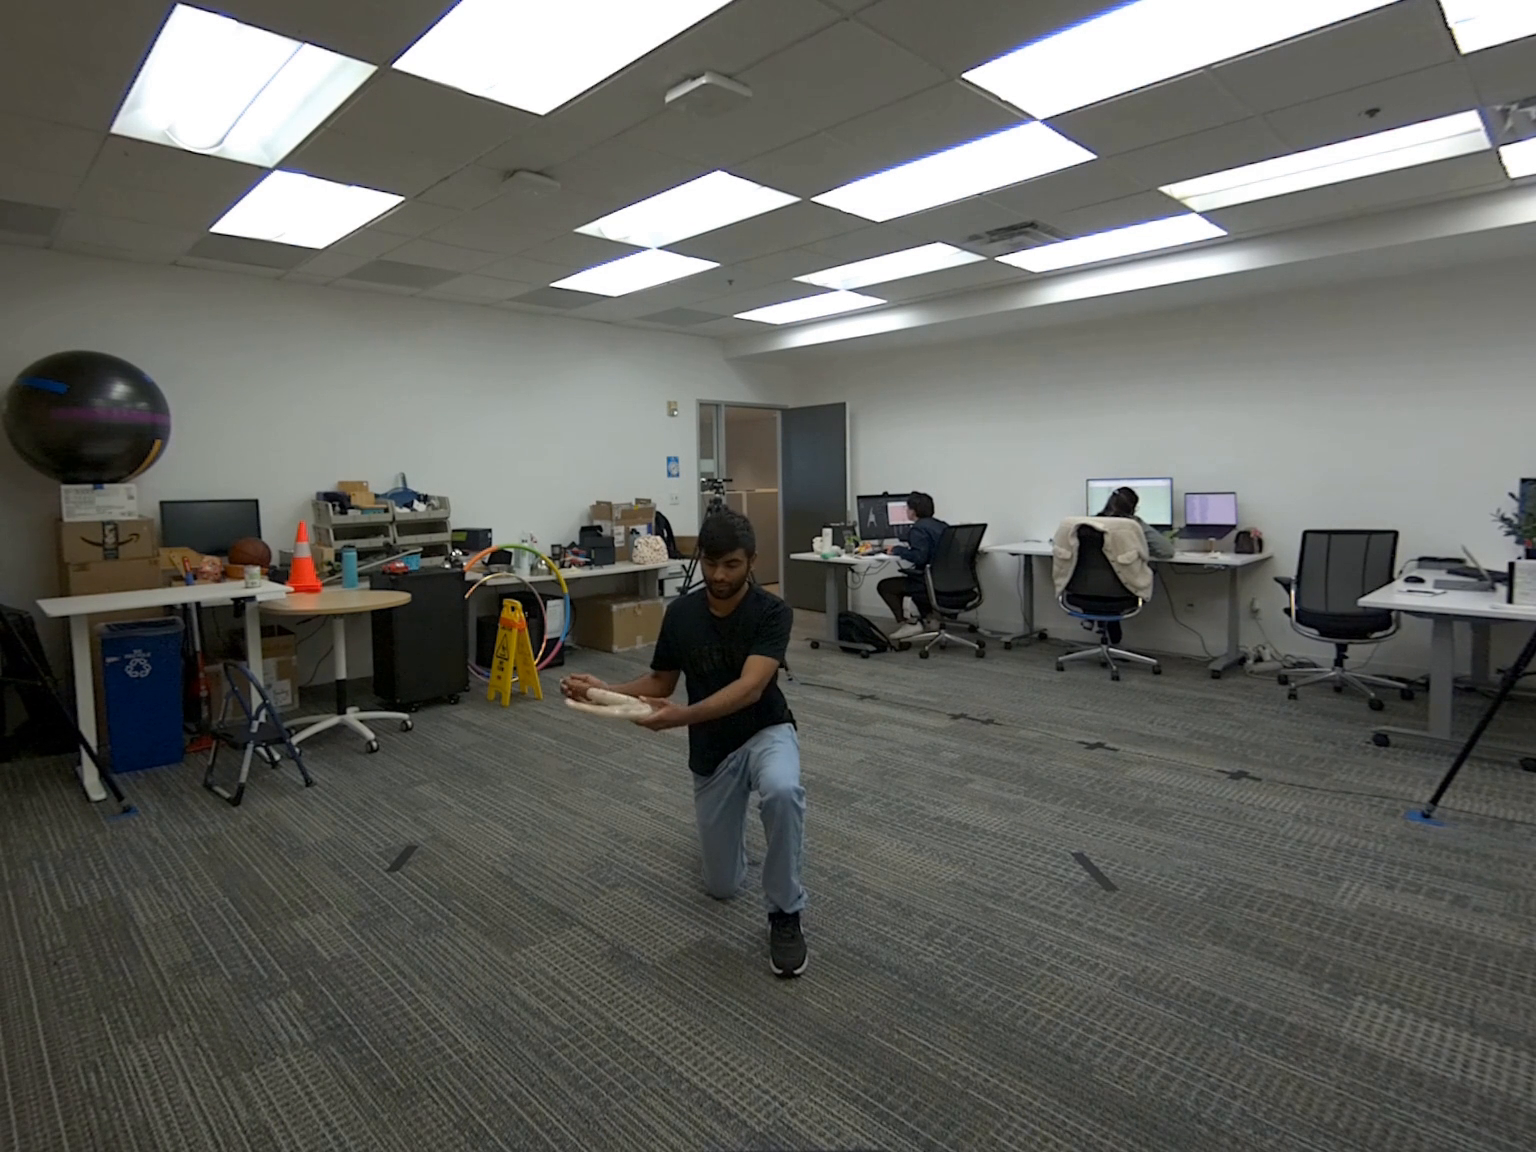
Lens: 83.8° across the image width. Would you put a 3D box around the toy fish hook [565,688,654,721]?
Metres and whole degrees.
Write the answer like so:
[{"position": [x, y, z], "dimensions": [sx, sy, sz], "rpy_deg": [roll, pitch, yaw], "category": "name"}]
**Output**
[{"position": [-0.513, 0.342, 2.472], "dimensions": [0.217, 0.048, 0.521], "rpy_deg": [11, -4, -37], "category": "toy fish hook"}]
